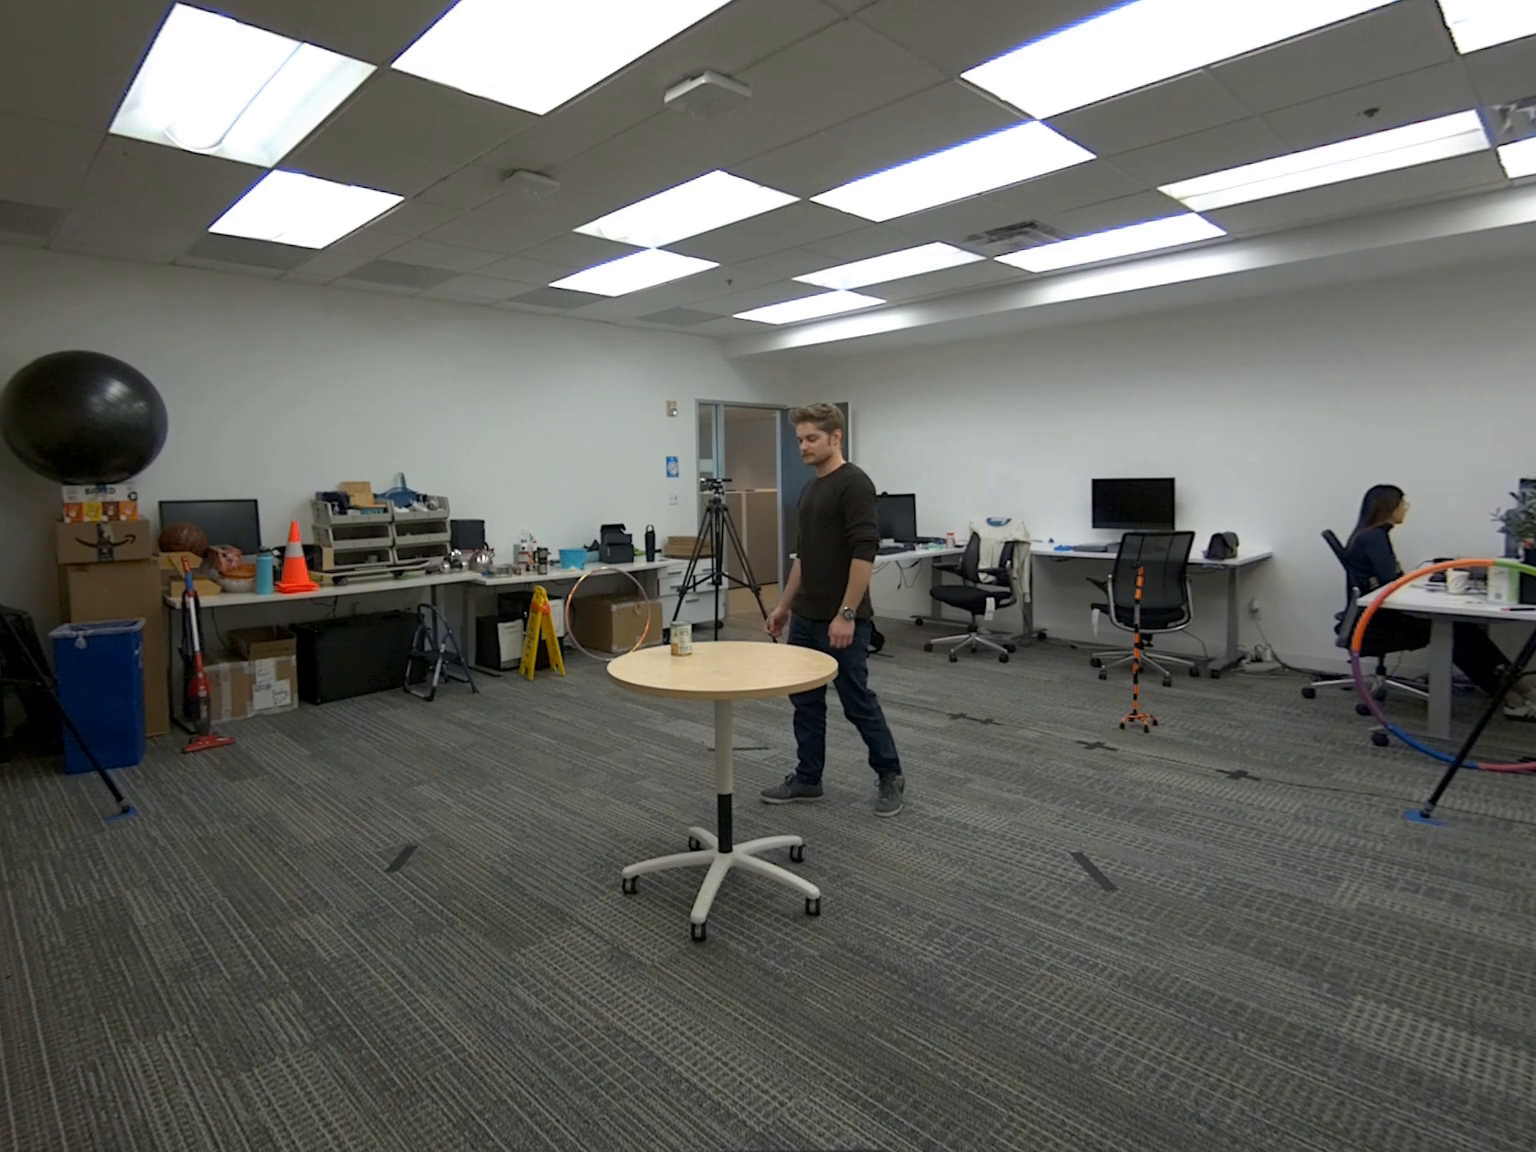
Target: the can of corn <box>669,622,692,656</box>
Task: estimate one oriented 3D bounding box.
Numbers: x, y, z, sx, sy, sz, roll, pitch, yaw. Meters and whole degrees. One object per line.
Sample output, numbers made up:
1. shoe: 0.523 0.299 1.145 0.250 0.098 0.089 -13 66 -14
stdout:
1. can of corn: -0.305 0.220 3.003 0.074 0.111 0.074 0 4 -2
